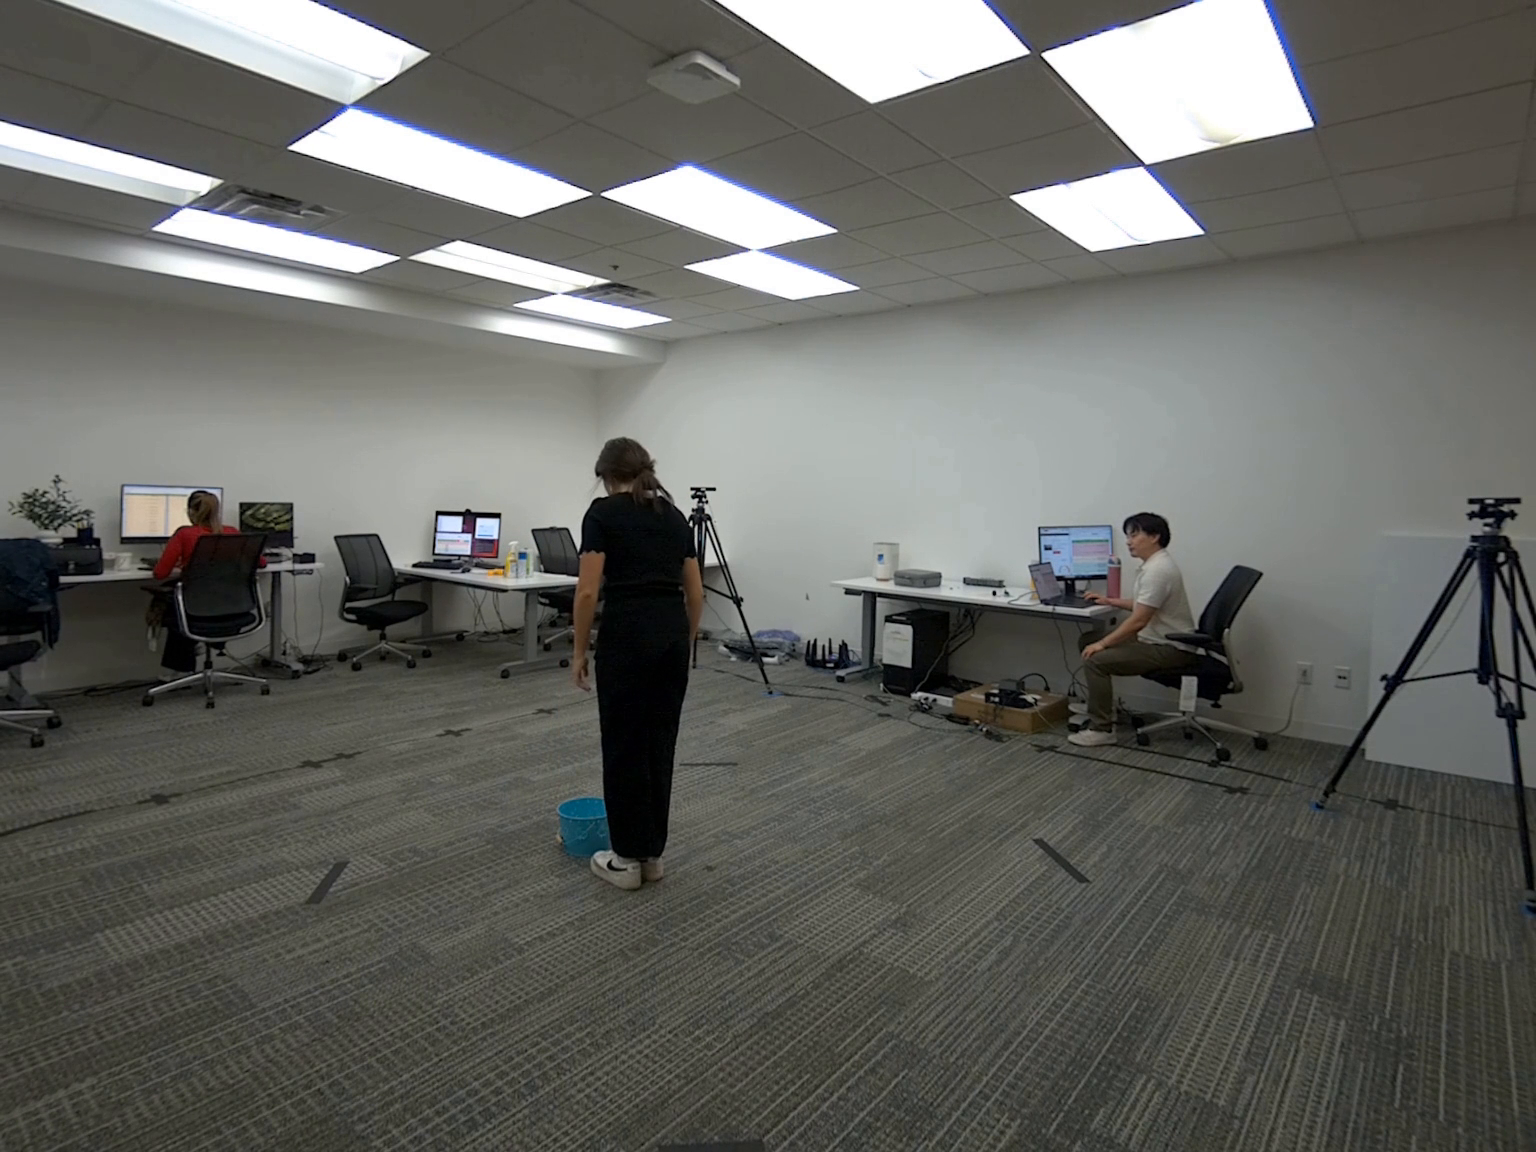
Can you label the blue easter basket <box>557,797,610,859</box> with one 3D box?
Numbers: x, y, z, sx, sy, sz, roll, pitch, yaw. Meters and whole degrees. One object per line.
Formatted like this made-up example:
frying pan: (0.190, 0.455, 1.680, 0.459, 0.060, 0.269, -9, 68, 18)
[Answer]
blue easter basket: (-0.709, 0.962, 3.280, 0.243, 0.155, 0.245, 1, 5, -2)
